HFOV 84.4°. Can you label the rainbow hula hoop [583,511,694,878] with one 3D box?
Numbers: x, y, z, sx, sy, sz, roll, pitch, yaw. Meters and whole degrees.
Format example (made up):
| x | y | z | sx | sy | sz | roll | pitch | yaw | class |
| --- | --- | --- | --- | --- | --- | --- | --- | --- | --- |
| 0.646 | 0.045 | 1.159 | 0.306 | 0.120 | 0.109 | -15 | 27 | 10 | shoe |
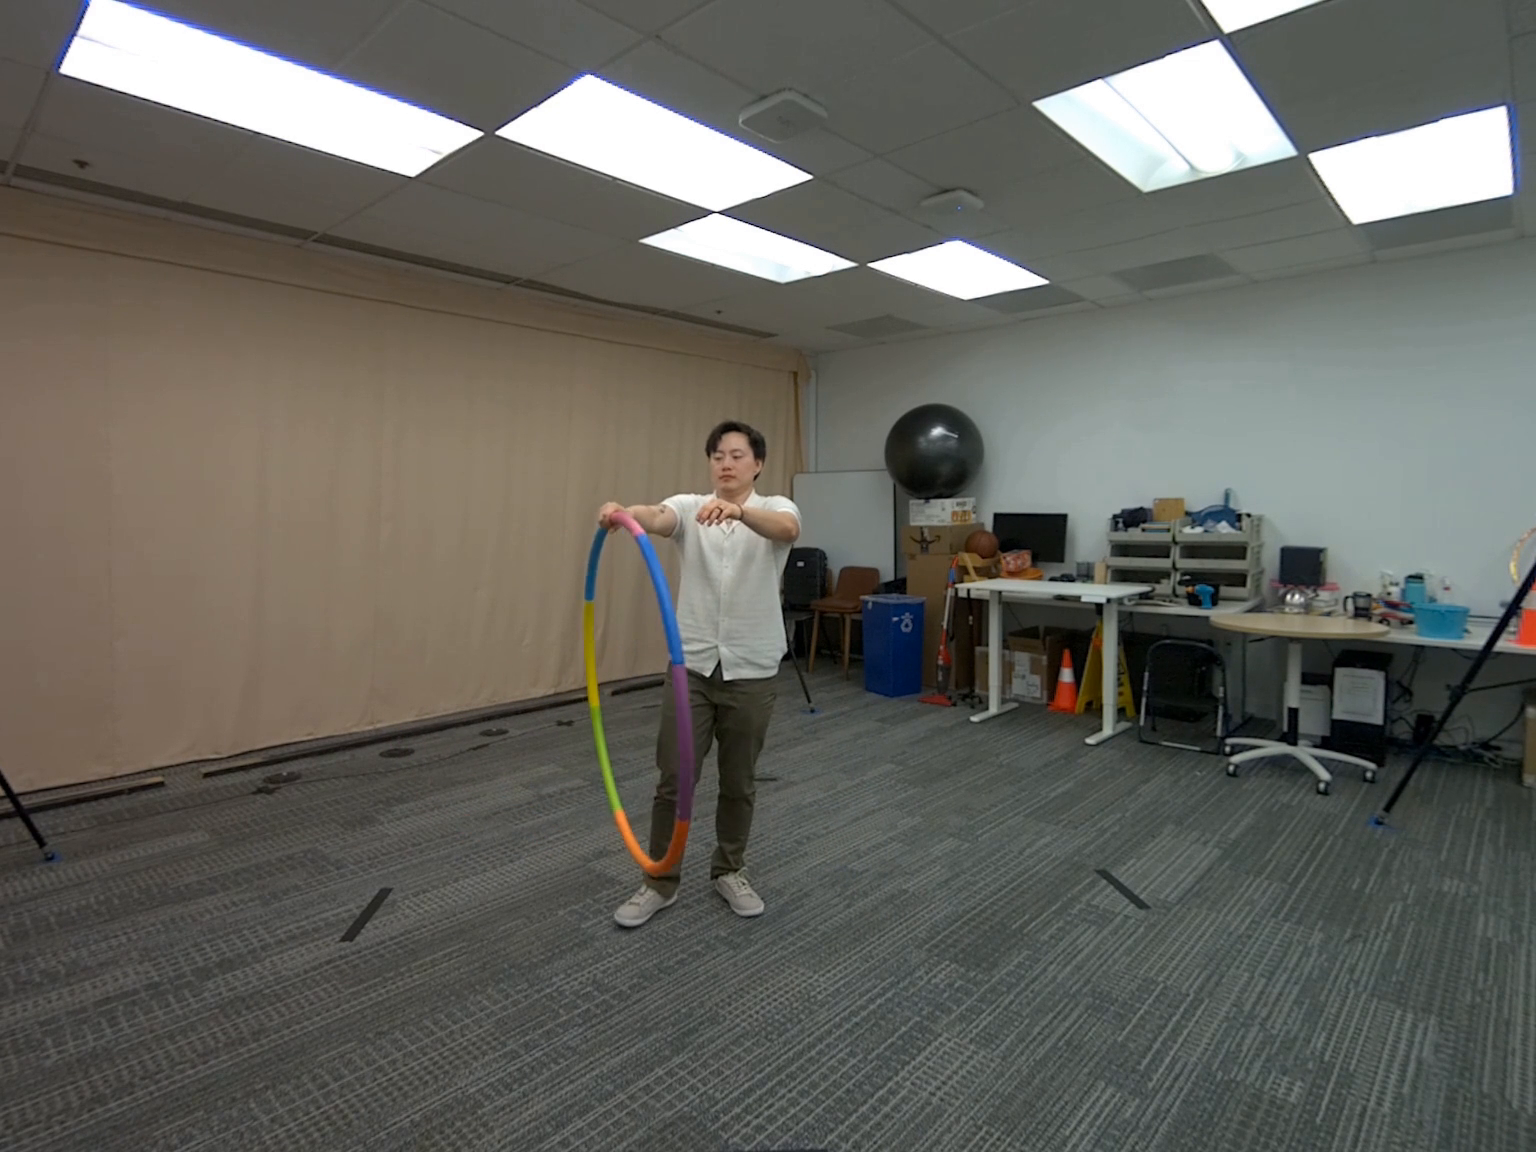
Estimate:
| x | y | z | sx | sy | sz | roll | pitch | yaw | class |
| --- | --- | --- | --- | --- | --- | --- | --- | --- | --- |
| -0.379 | 0.314 | 2.369 | 0.035 | 0.976 | 1.002 | -1 | 4 | -23 | rainbow hula hoop |
